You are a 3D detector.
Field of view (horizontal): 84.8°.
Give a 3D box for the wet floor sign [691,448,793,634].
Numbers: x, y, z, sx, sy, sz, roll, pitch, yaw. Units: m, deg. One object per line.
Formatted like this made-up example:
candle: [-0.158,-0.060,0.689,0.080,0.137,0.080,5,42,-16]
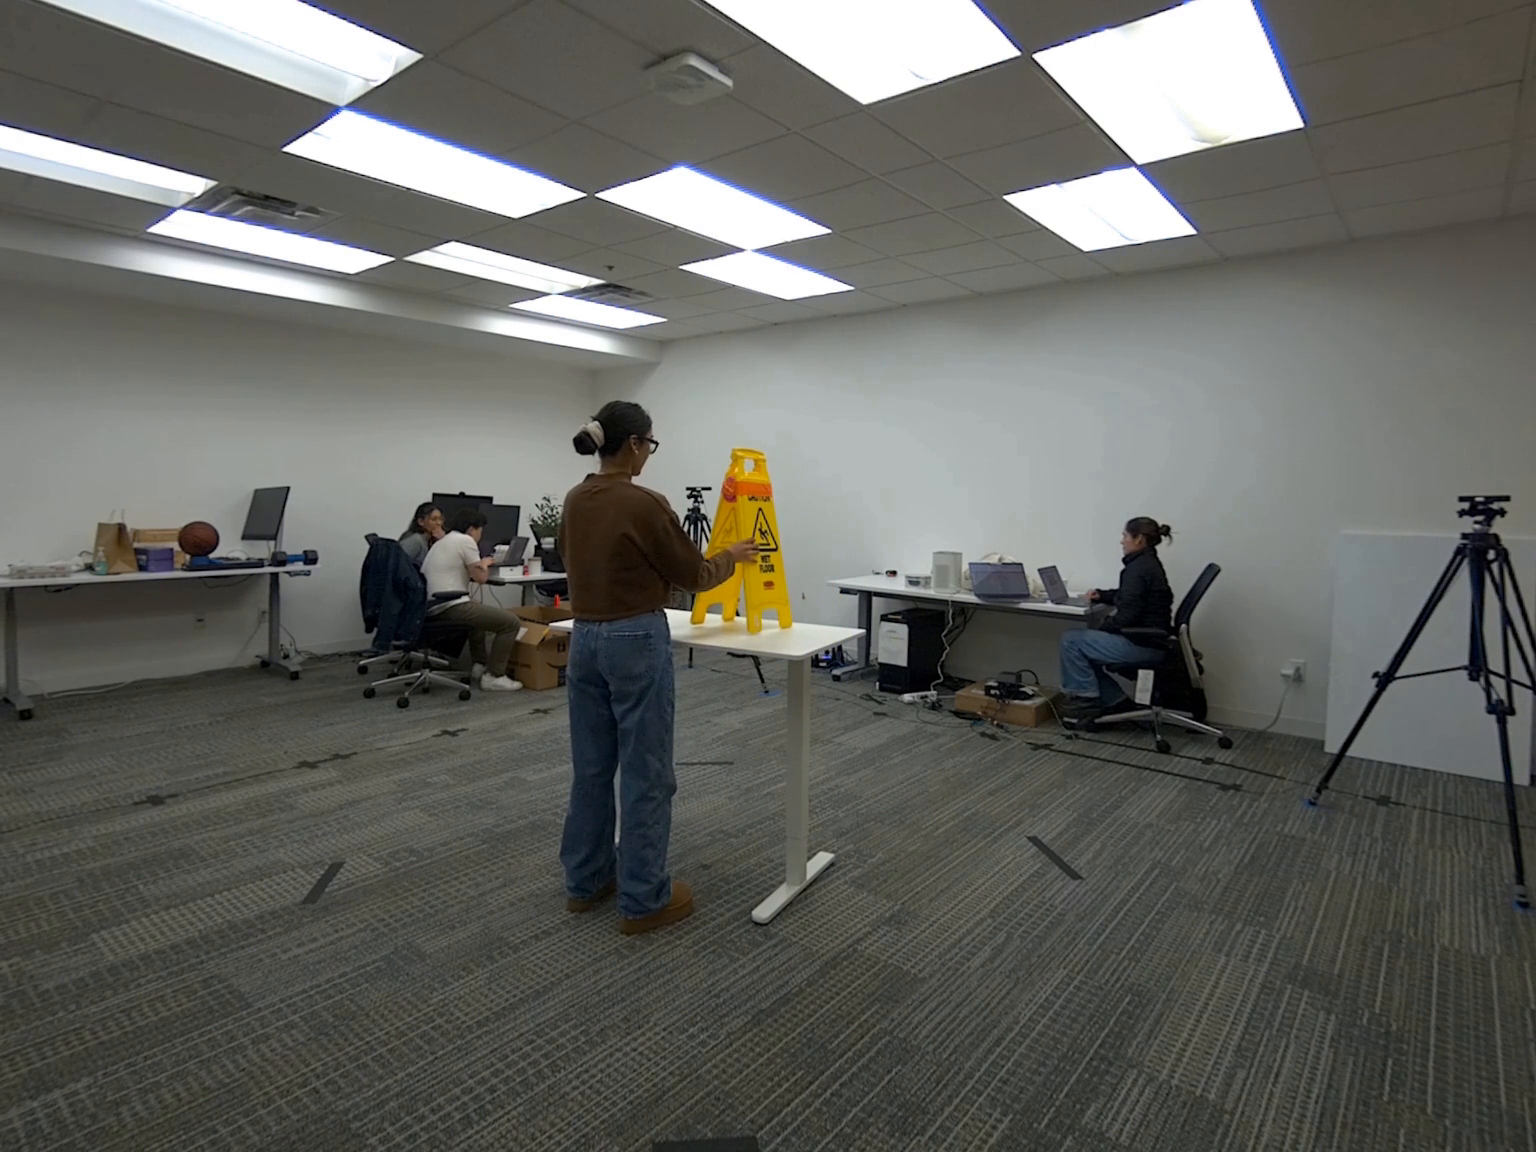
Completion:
wet floor sign: [-0.096,-0.141,3.115,0.299,0.646,0.274,3,1,33]
